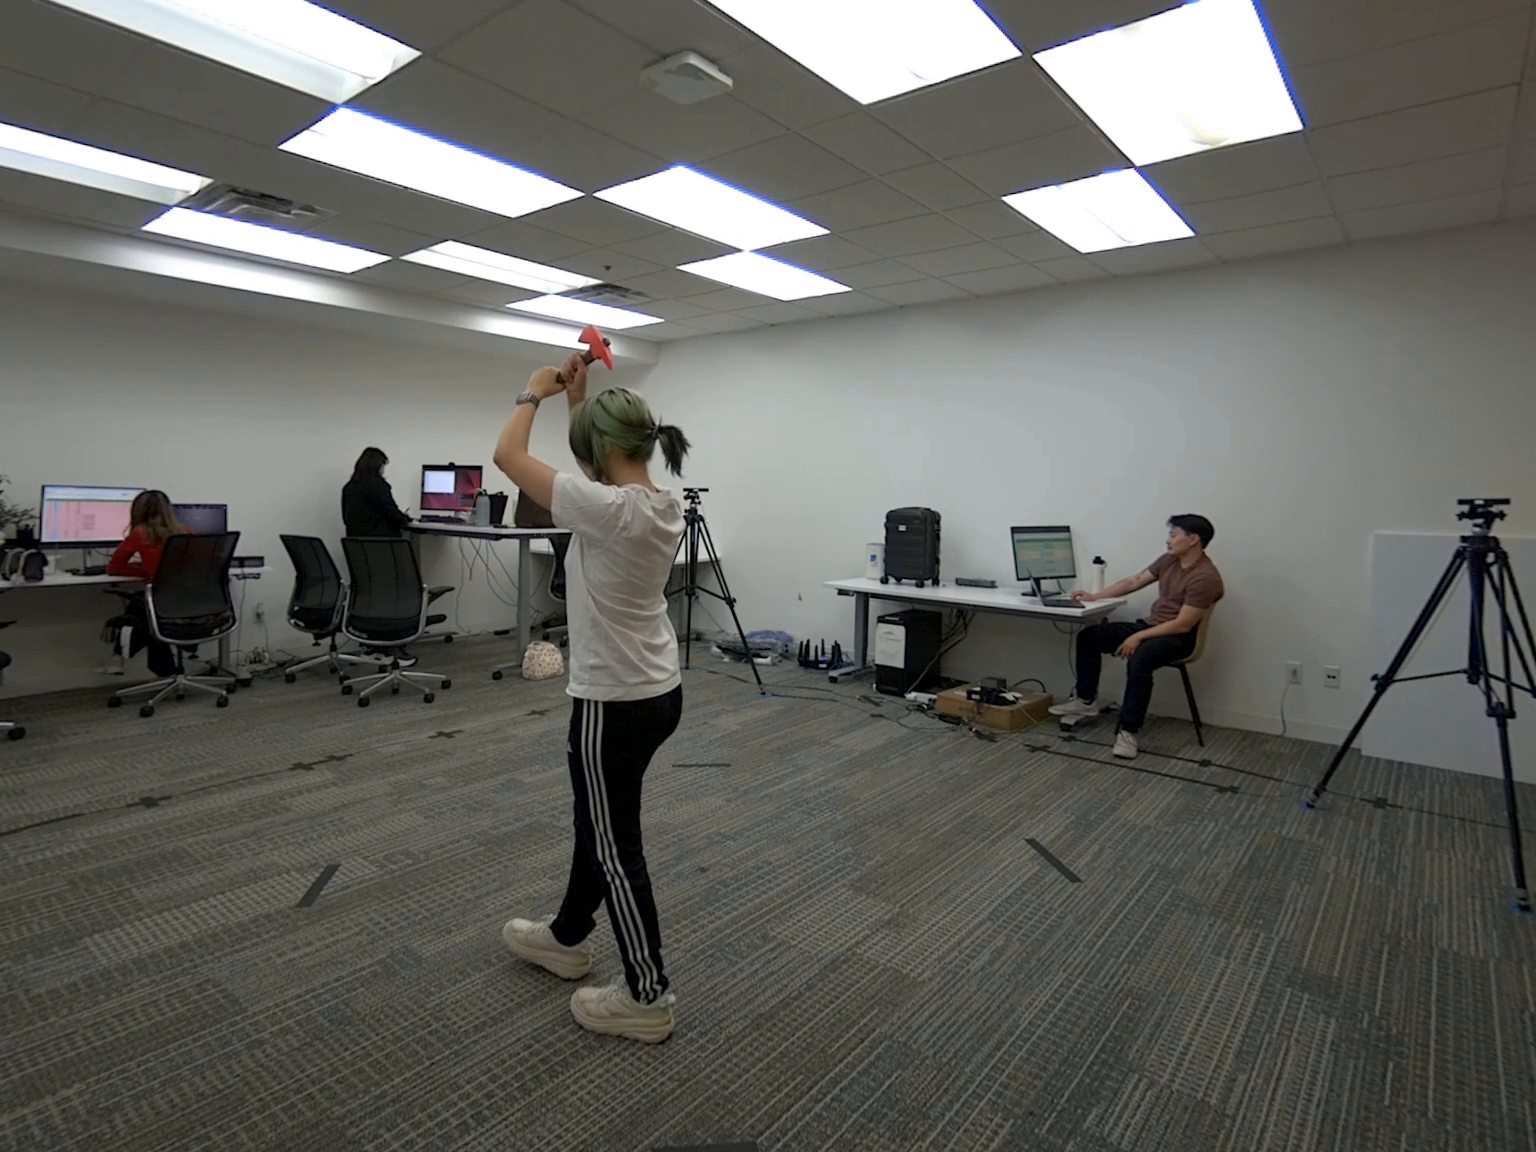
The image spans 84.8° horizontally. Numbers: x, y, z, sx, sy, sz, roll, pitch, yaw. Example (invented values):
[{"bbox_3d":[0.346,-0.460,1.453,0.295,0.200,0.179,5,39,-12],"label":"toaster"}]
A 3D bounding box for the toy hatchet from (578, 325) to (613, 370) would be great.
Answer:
[{"bbox_3d":[-0.528,-0.578,2.233,0.275,0.130,0.029,-8,4,23],"label":"toy hatchet"}]
